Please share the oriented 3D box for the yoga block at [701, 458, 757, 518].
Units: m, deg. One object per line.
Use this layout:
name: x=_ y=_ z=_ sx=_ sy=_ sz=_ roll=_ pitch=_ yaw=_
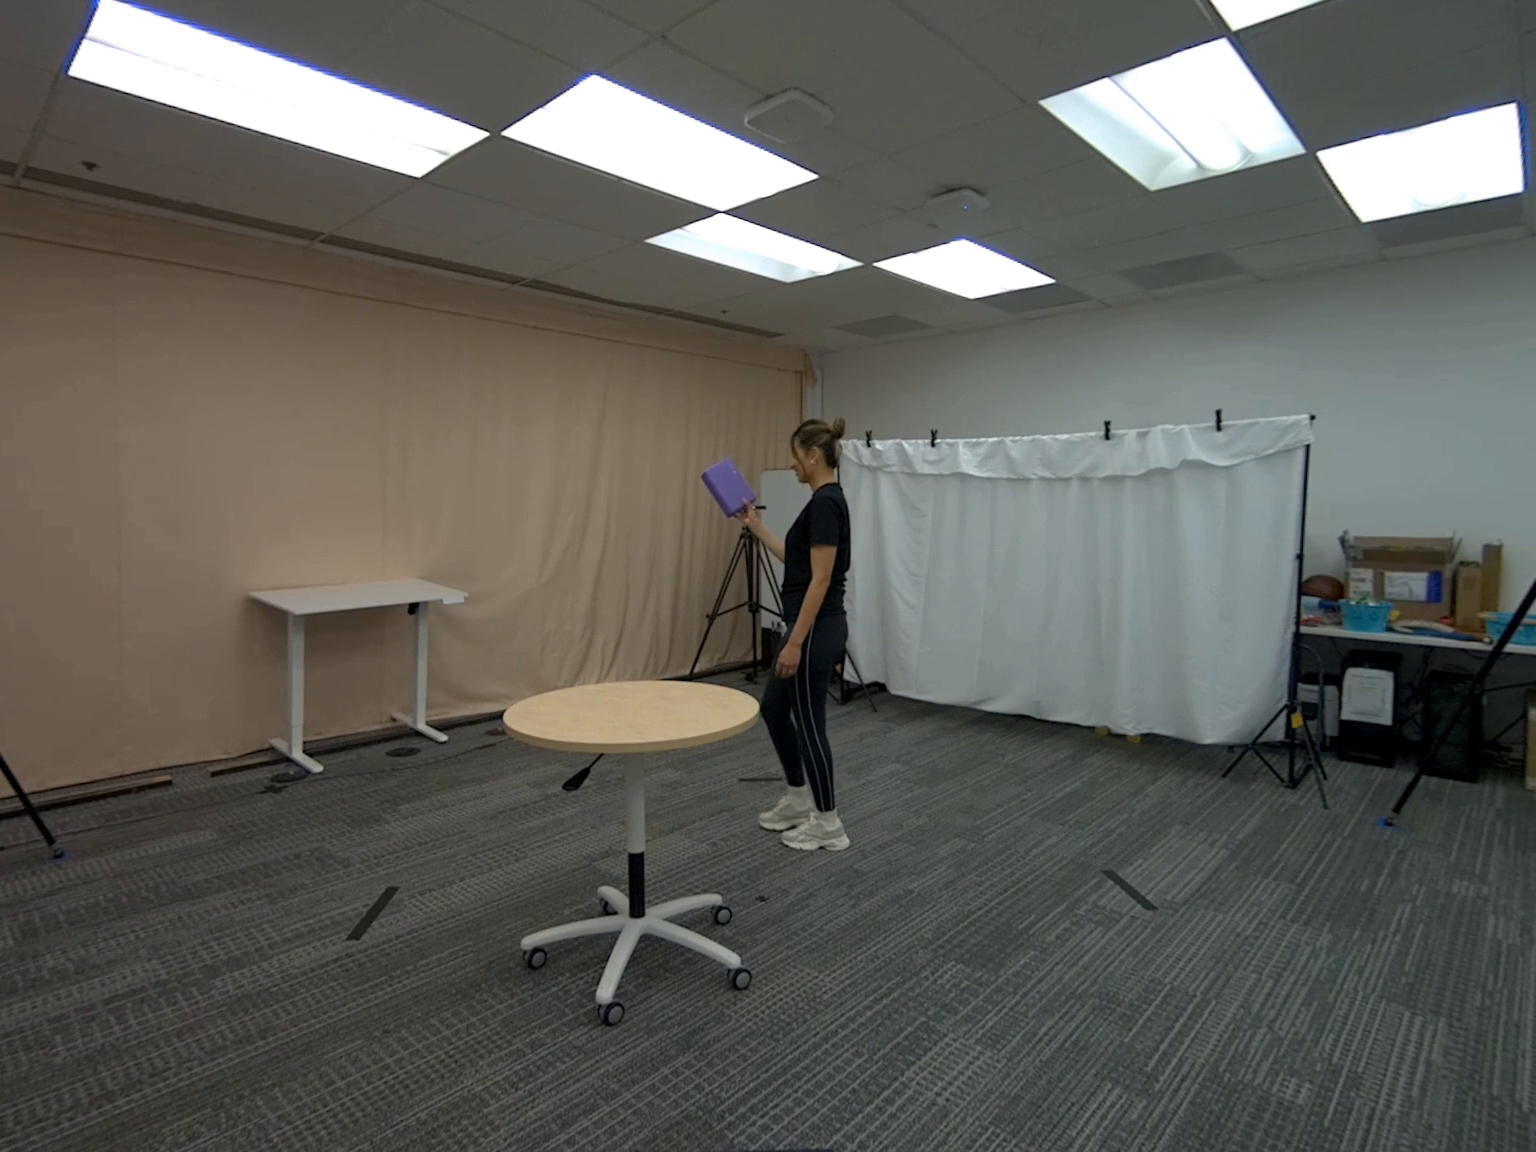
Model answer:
yoga block: x=-0.171 y=-0.393 z=3.745 sx=0.147 sy=0.230 sz=0.077 roll=-32 pitch=-5 yaw=-21
